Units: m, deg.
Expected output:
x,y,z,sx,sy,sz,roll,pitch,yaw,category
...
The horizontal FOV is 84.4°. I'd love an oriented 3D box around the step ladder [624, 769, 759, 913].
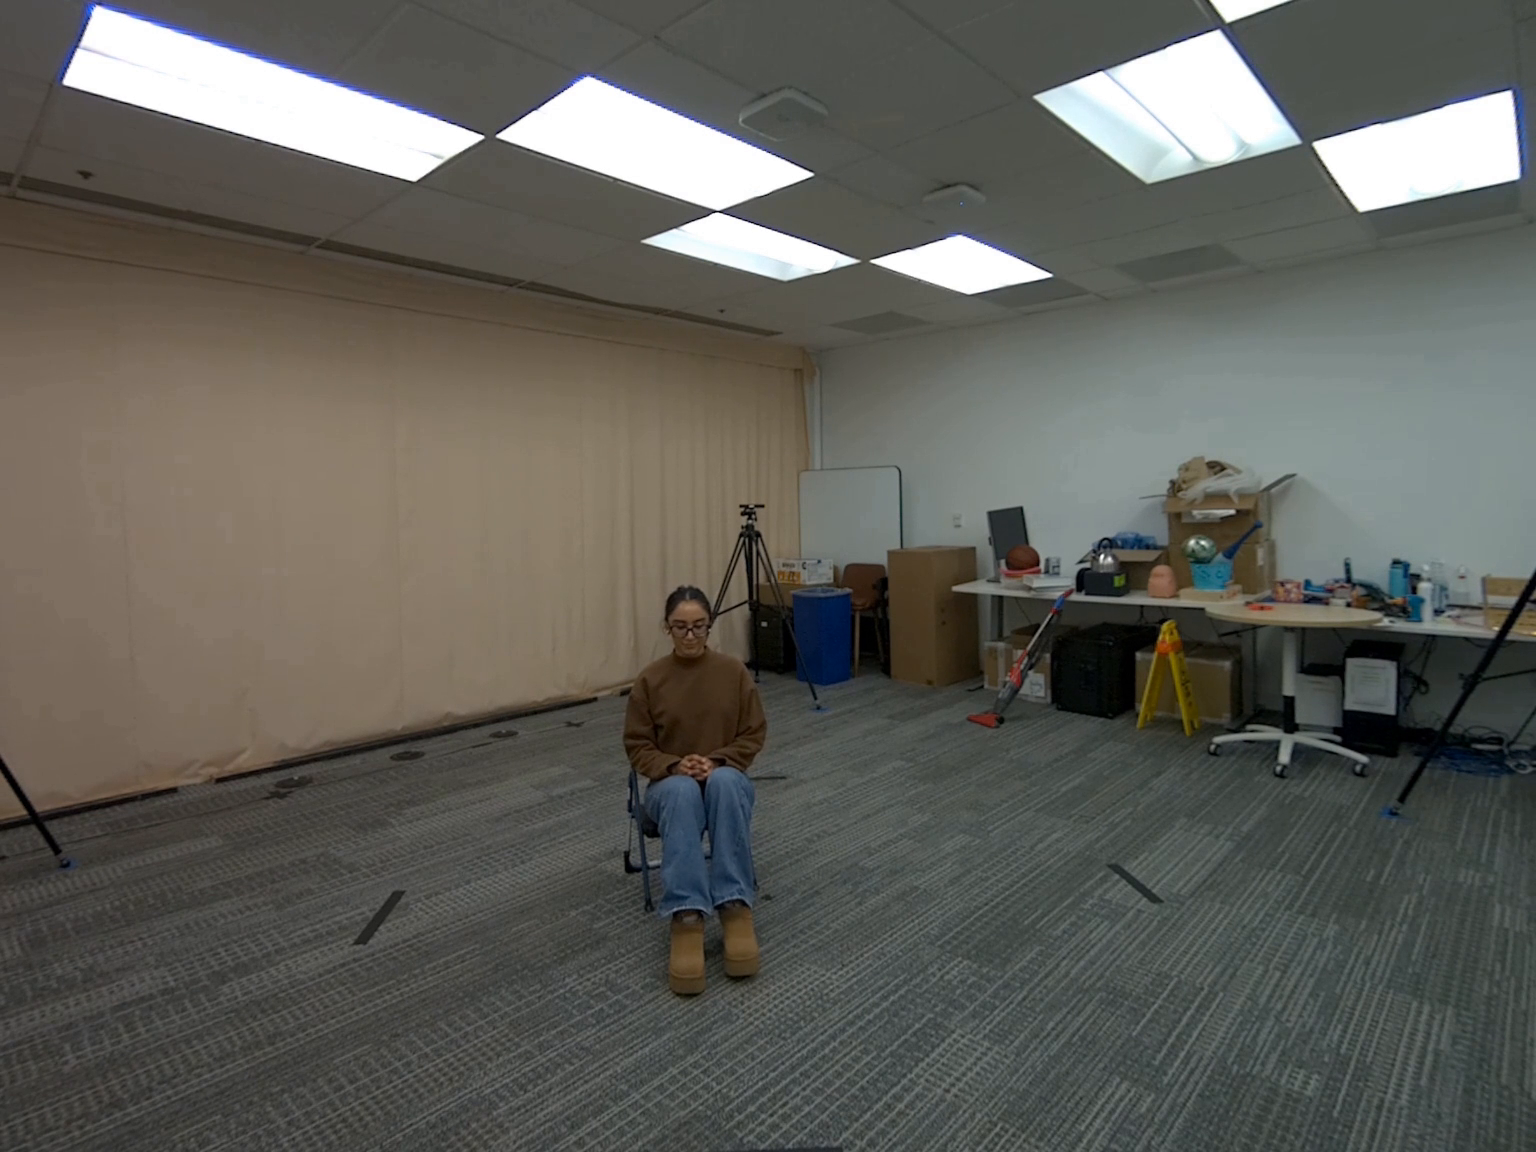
x,y,z,sx,sy,sz,roll,pitch,yaw,category
-0.298,0.838,3.121,0.421,0.605,0.357,-2,3,-22,step ladder
